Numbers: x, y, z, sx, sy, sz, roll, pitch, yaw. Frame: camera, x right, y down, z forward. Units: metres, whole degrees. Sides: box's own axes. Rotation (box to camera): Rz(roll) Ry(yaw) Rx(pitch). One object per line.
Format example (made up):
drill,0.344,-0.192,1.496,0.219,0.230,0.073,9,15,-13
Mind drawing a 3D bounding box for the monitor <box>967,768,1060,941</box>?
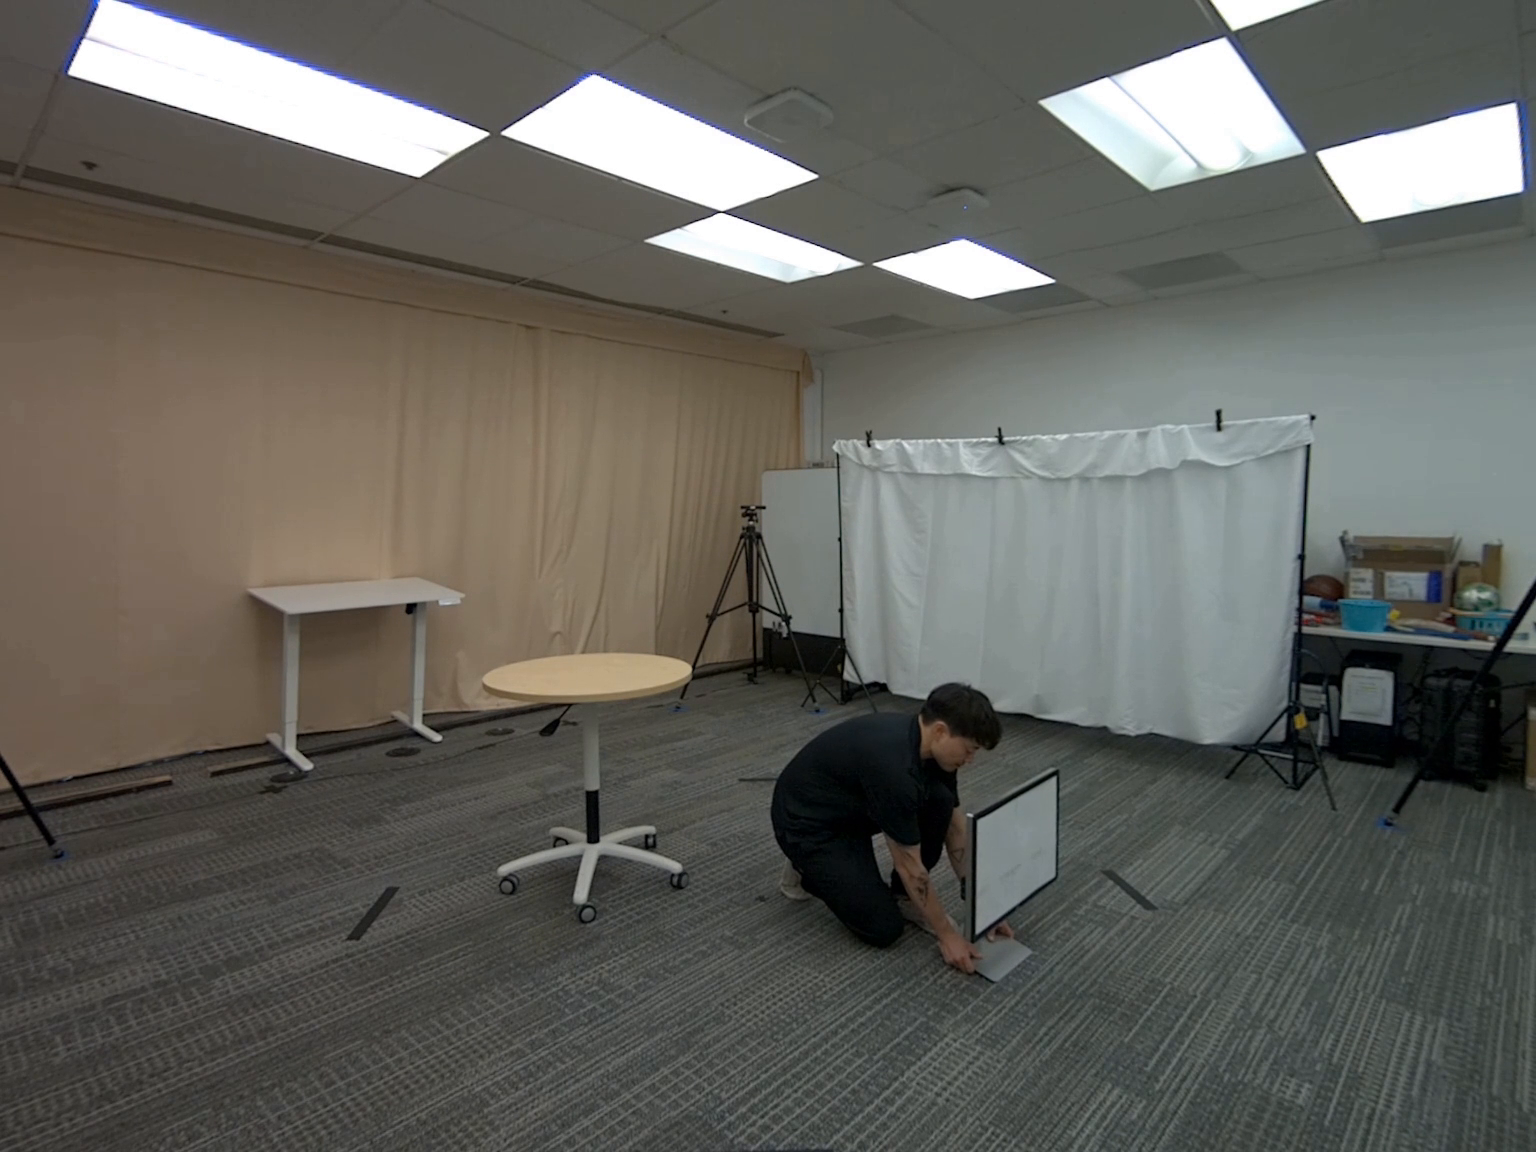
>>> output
monitor,0.718,0.904,2.546,0.194,0.520,0.523,17,14,40
